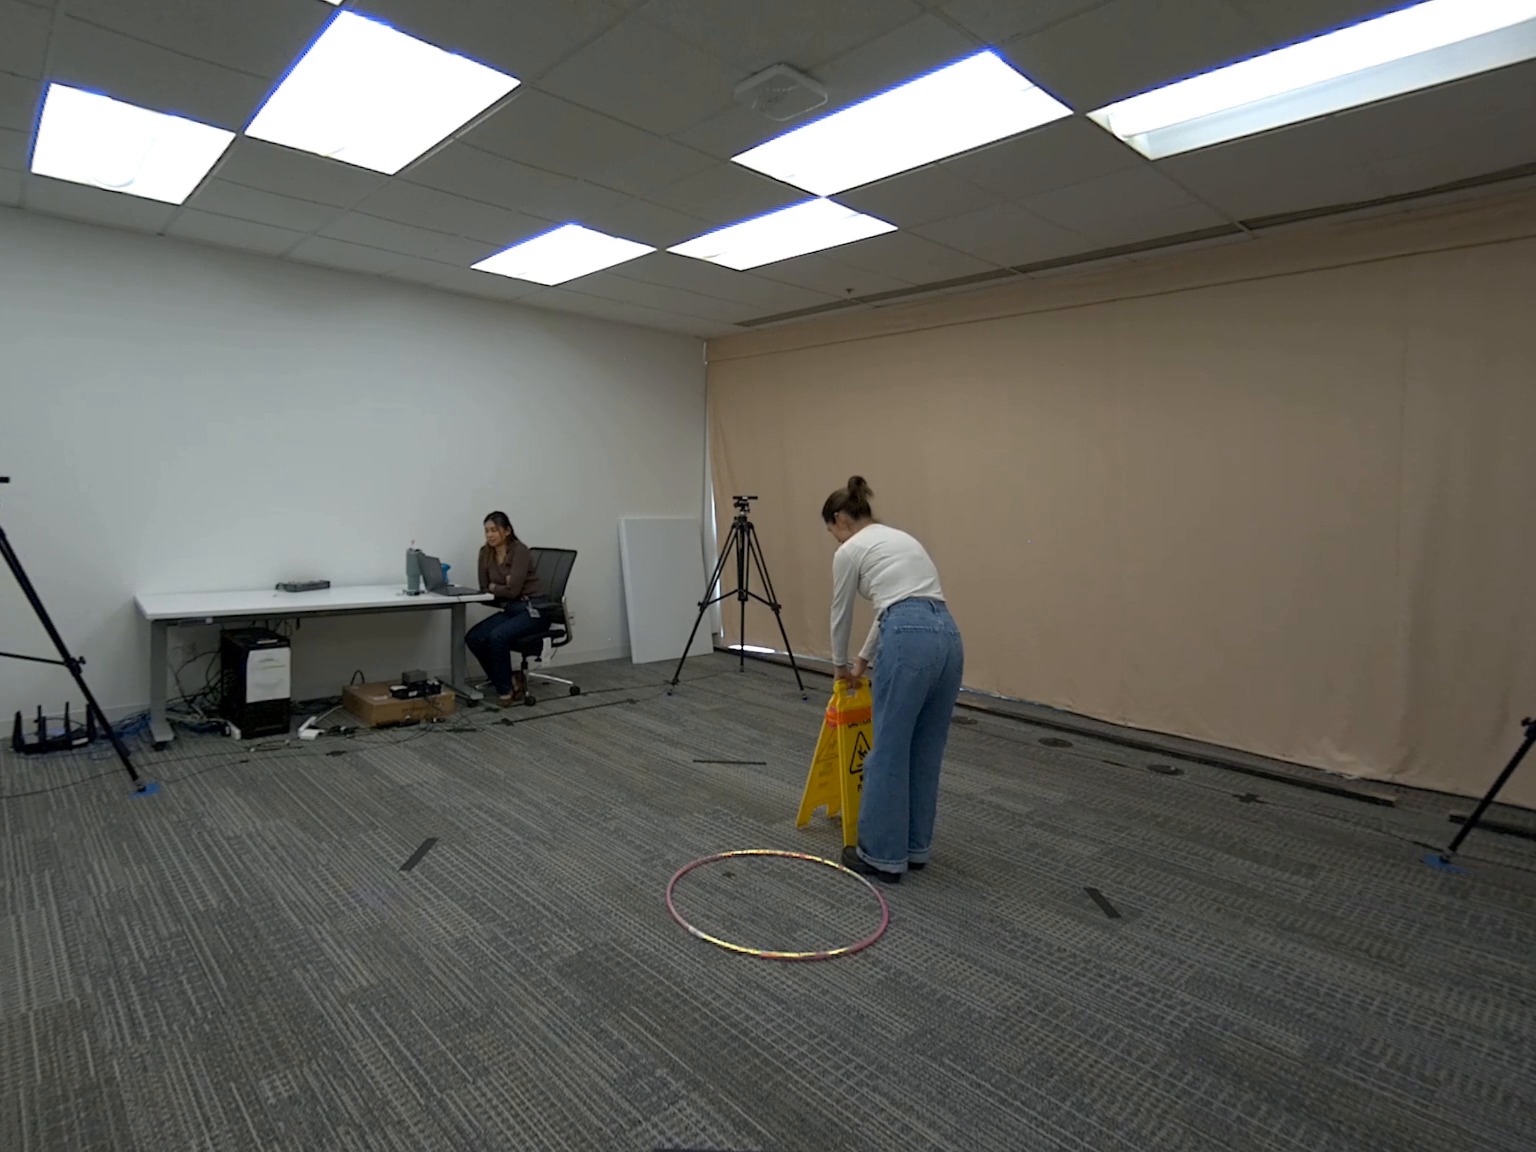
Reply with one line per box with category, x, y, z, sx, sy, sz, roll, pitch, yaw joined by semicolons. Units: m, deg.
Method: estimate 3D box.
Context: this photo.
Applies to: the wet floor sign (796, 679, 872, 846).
wet floor sign;0.325;0.737;3.512;0.275;0.645;0.297;1;4;-43
